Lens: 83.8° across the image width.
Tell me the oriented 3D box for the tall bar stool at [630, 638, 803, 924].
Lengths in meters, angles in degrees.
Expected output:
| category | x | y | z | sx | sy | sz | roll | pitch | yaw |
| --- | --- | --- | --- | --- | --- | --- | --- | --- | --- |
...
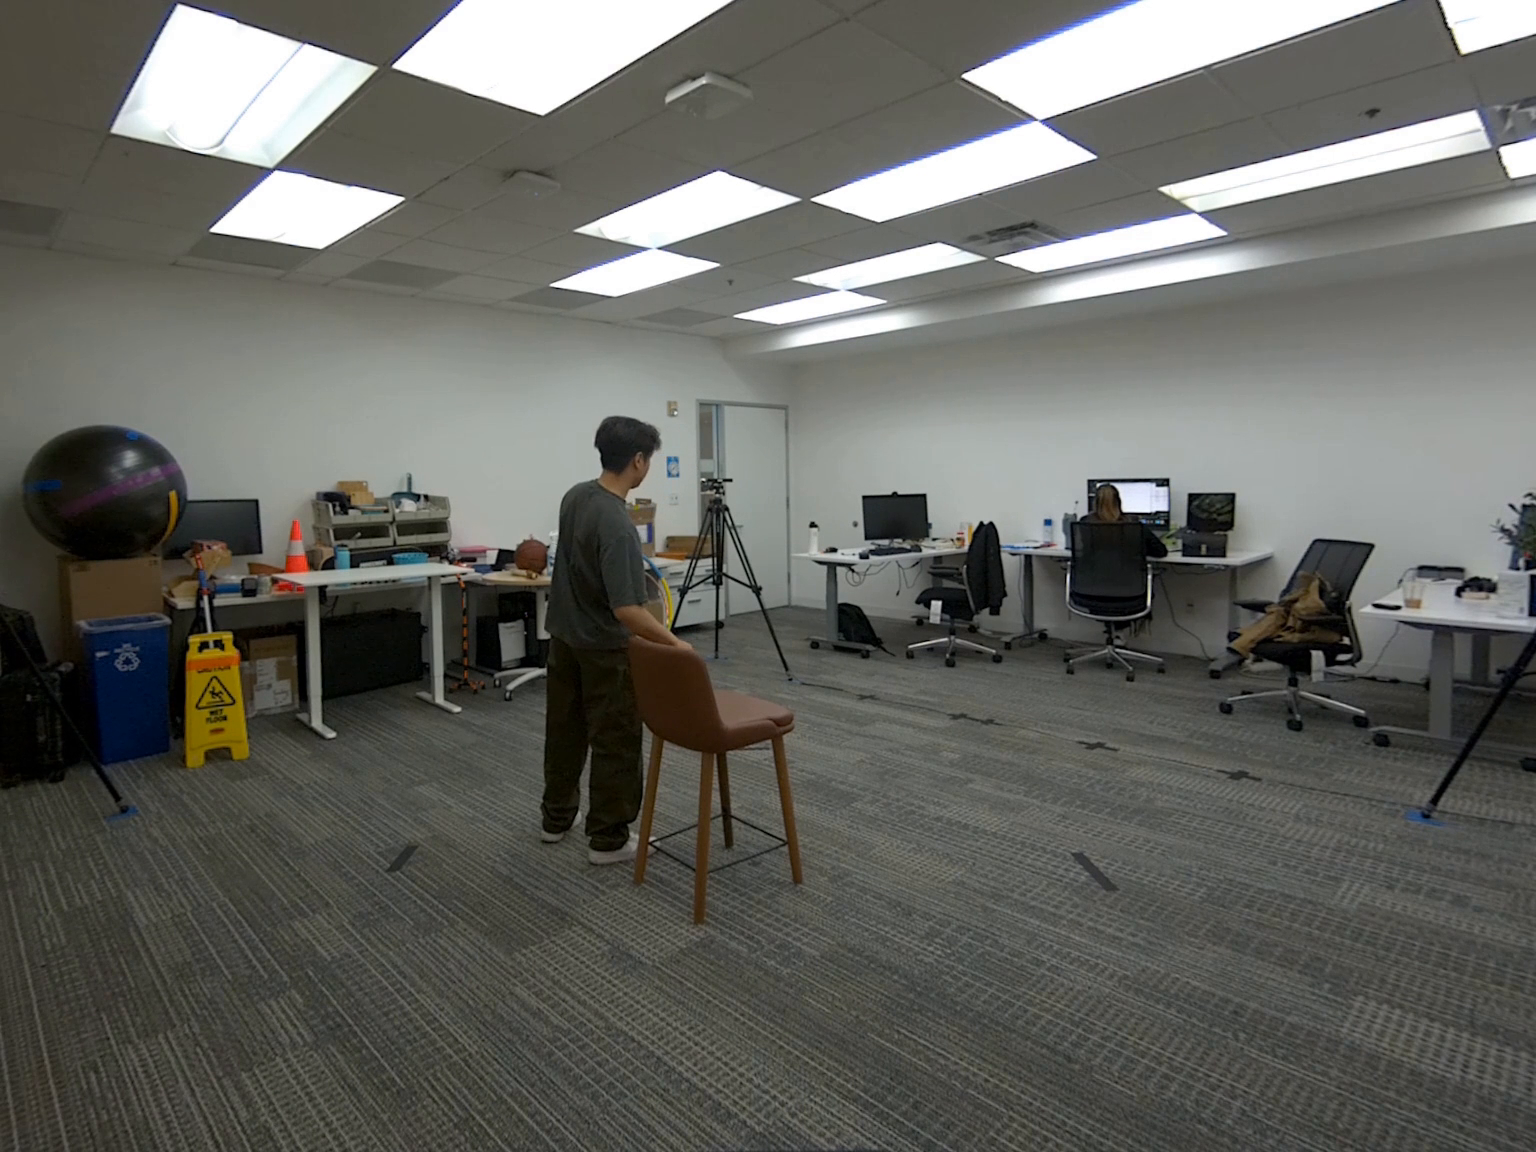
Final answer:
| category | x | y | z | sx | sy | sz | roll | pitch | yaw |
| --- | --- | --- | --- | --- | --- | --- | --- | --- | --- |
| tall bar stool | -0.183 | 0.631 | 2.932 | 0.456 | 0.885 | 0.470 | -7 | 7 | -39 |
